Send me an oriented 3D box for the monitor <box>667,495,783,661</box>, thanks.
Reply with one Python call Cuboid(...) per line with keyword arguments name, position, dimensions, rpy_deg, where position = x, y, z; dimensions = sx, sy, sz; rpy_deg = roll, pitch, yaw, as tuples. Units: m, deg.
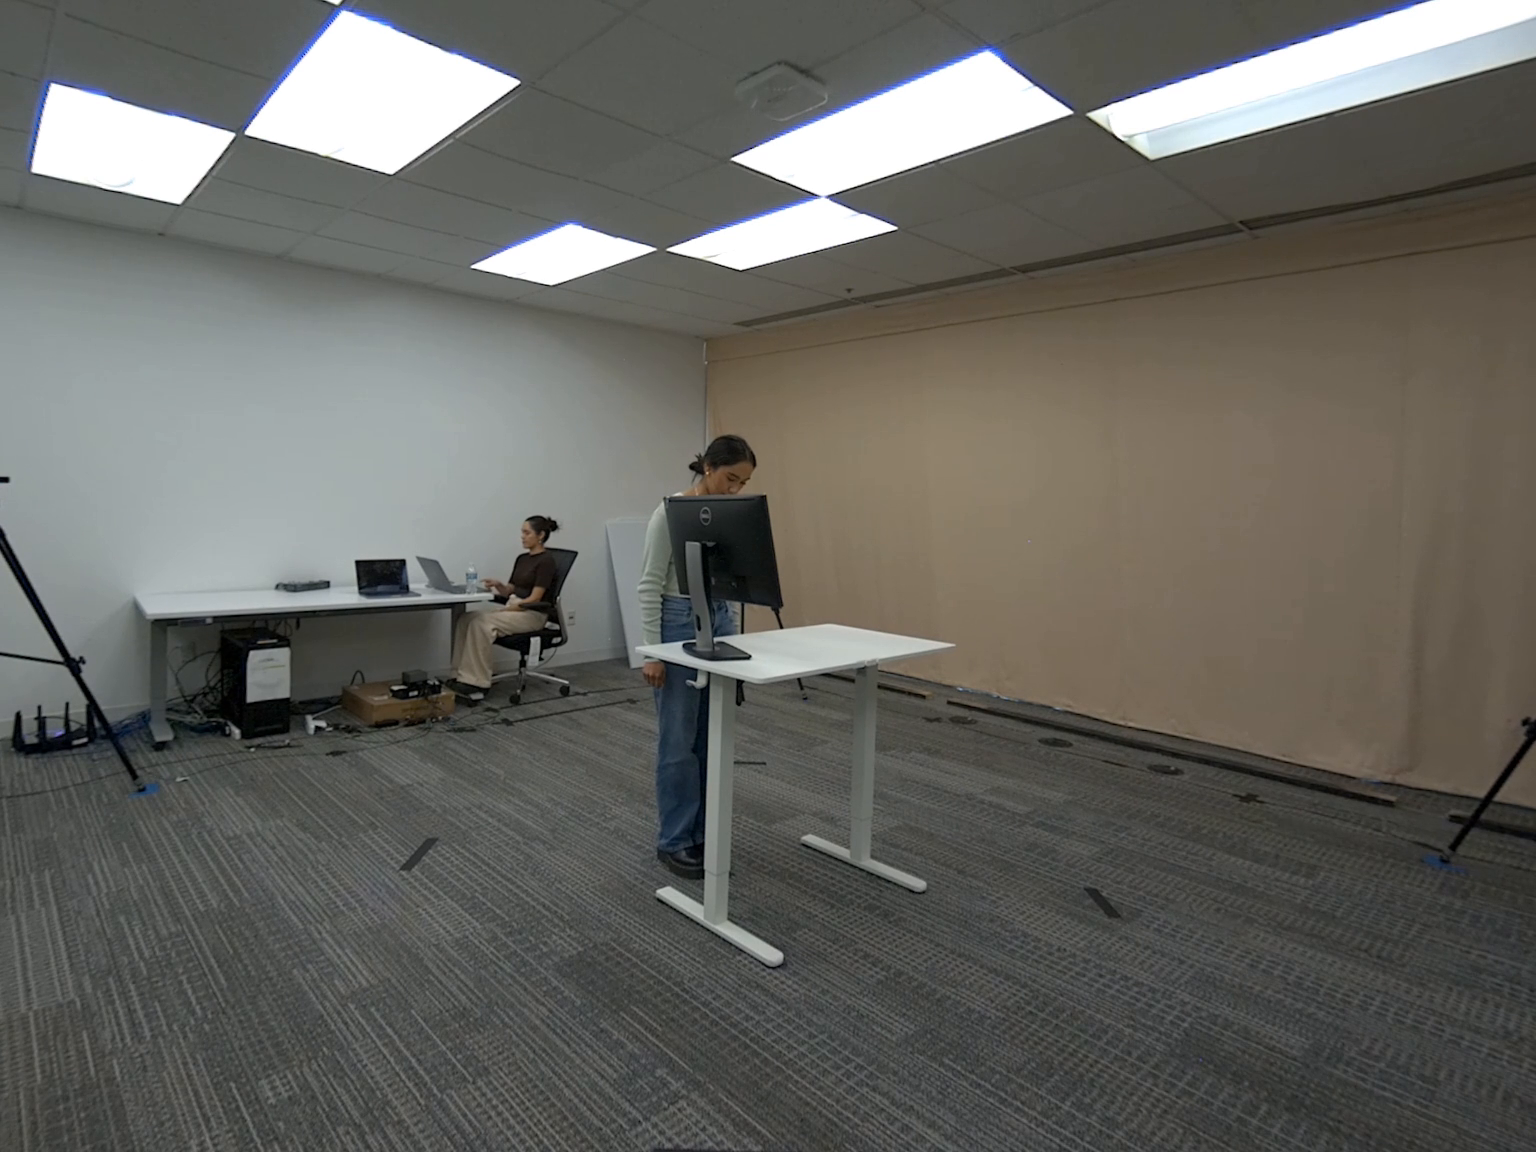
Cuboid(name="monitor", position=(-0.193, 0.001, 2.721), dimensions=(0.183, 0.522, 0.552), rpy_deg=(-1, 3, -40))
